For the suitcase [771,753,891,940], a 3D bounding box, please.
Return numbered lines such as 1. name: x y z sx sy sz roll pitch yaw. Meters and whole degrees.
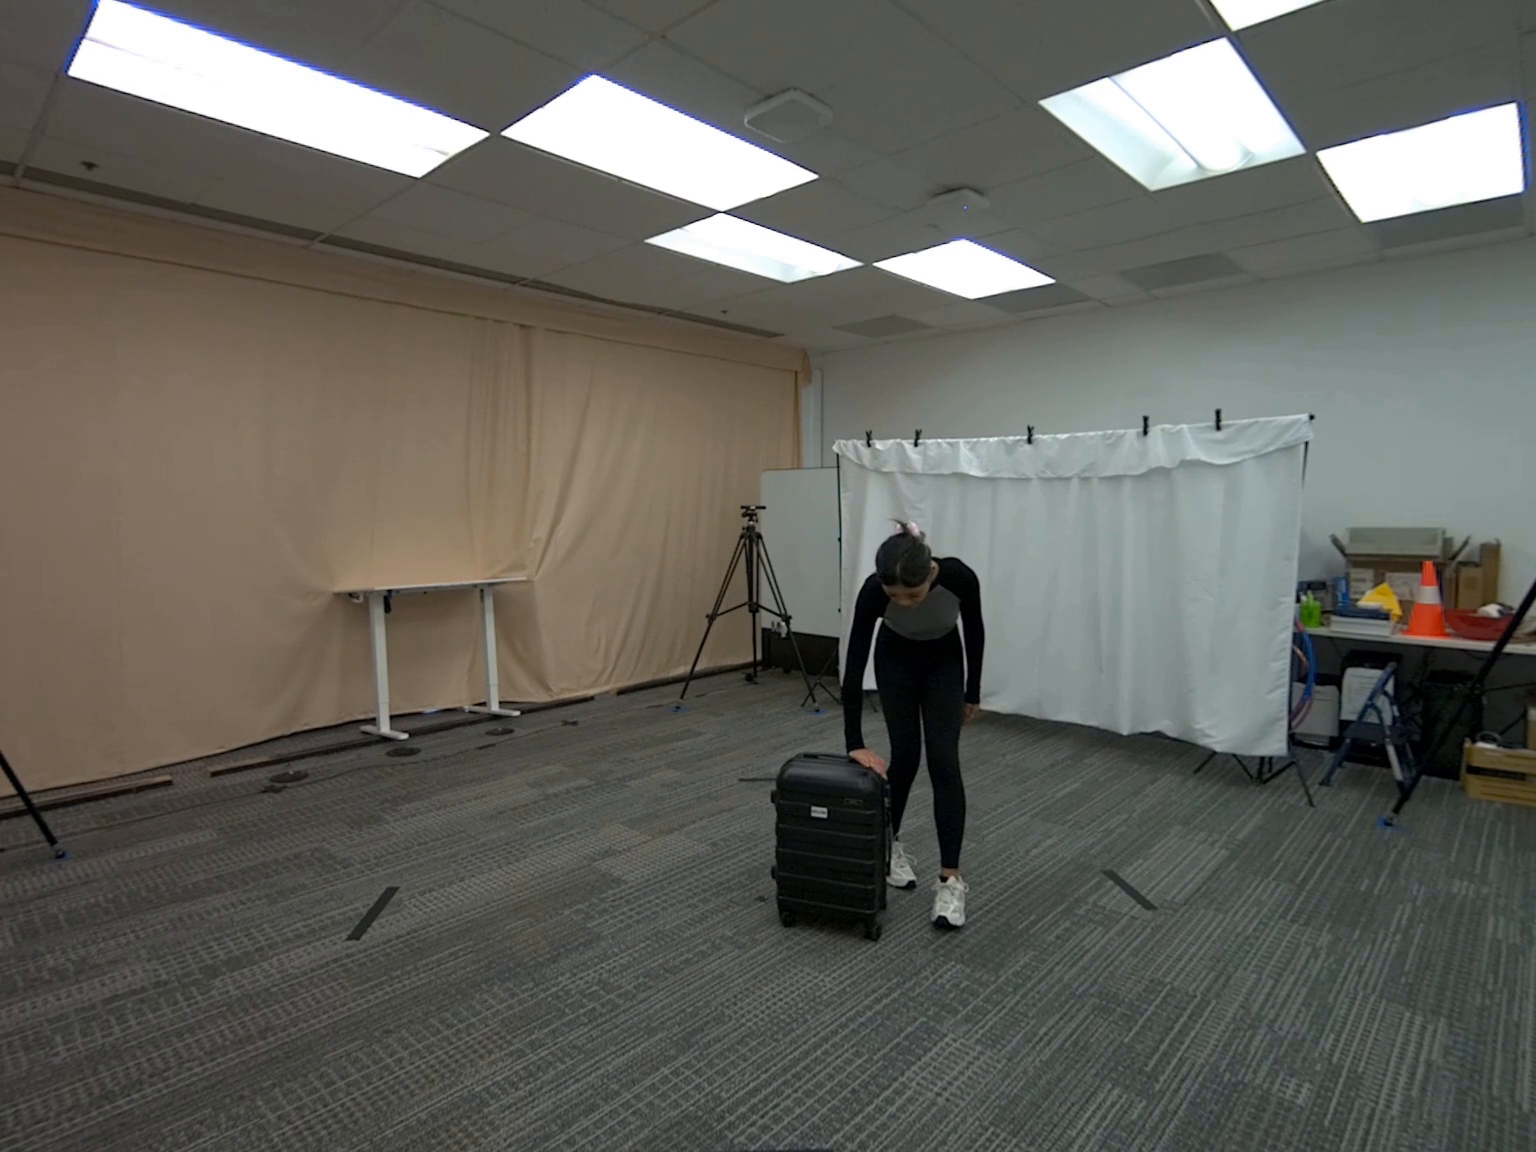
1. suitcase: 0.219 0.881 2.819 0.383 0.547 0.244 2 6 20
